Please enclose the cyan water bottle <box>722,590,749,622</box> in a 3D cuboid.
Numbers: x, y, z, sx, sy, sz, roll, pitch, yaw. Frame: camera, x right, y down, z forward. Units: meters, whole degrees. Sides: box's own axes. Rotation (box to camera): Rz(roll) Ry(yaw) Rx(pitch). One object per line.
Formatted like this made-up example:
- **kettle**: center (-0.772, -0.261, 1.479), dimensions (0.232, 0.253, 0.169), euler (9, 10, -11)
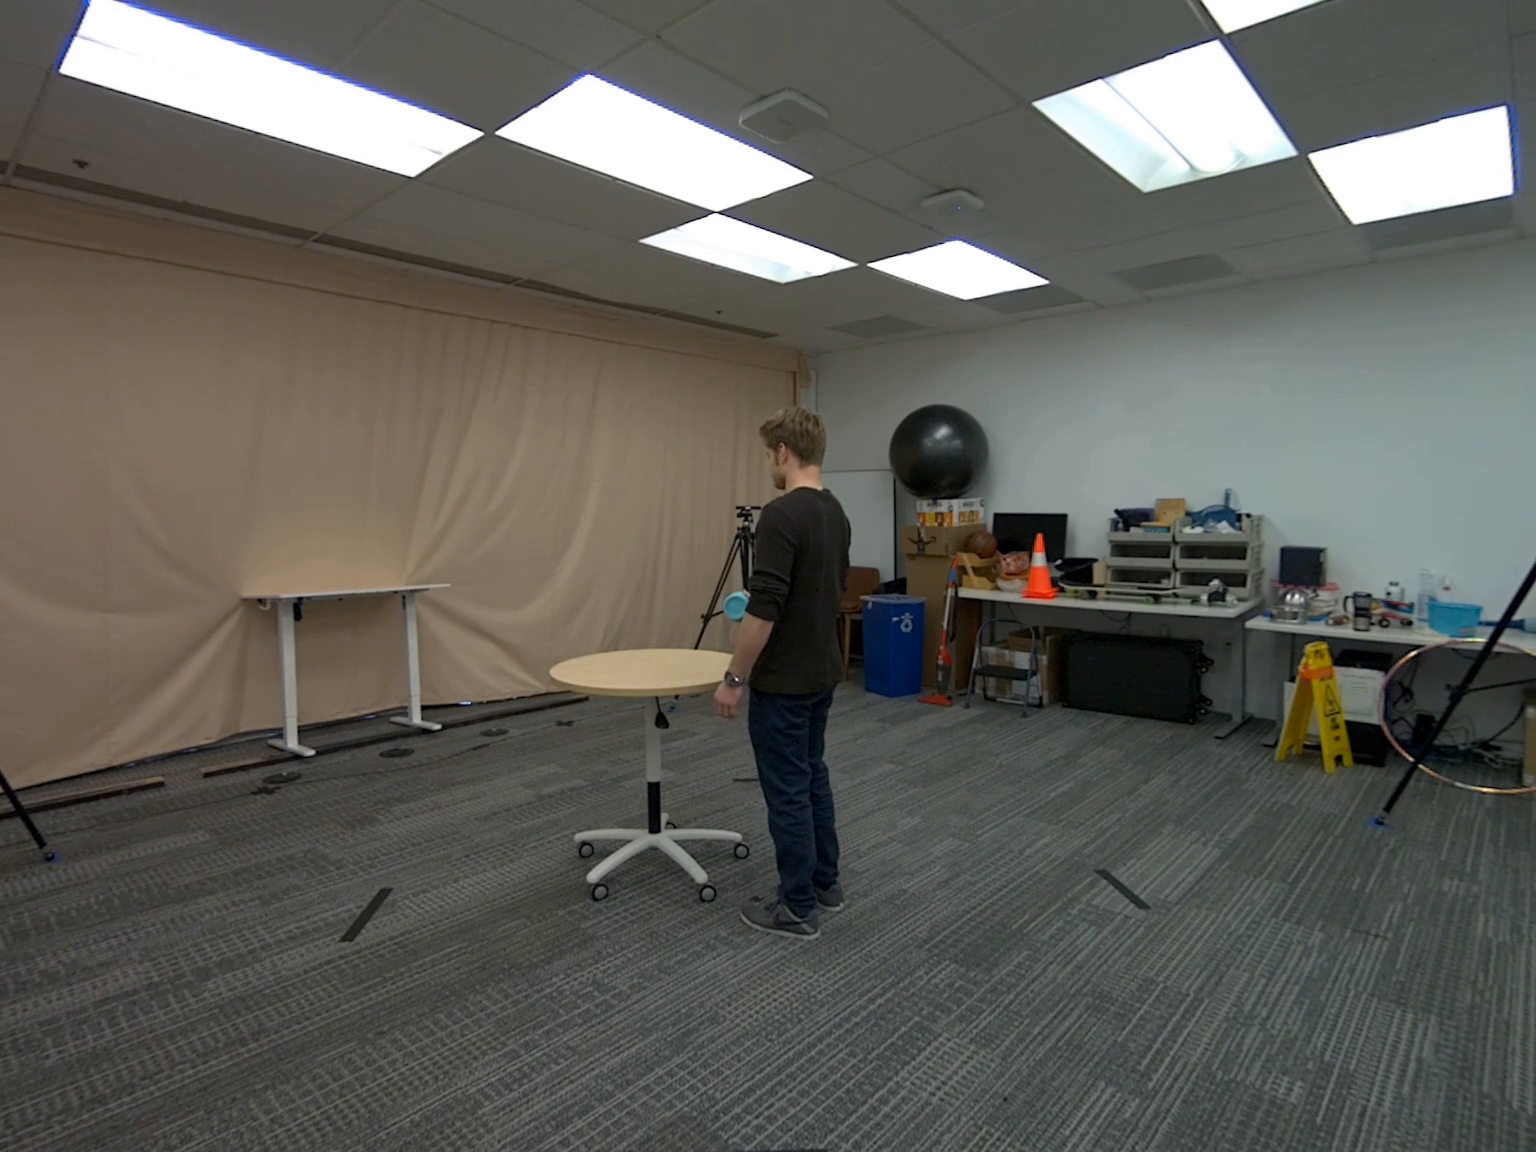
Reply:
- **cyan water bottle**: center (-0.108, 0.111, 3.162), dimensions (0.092, 0.092, 0.283), euler (0, 2, 0)
